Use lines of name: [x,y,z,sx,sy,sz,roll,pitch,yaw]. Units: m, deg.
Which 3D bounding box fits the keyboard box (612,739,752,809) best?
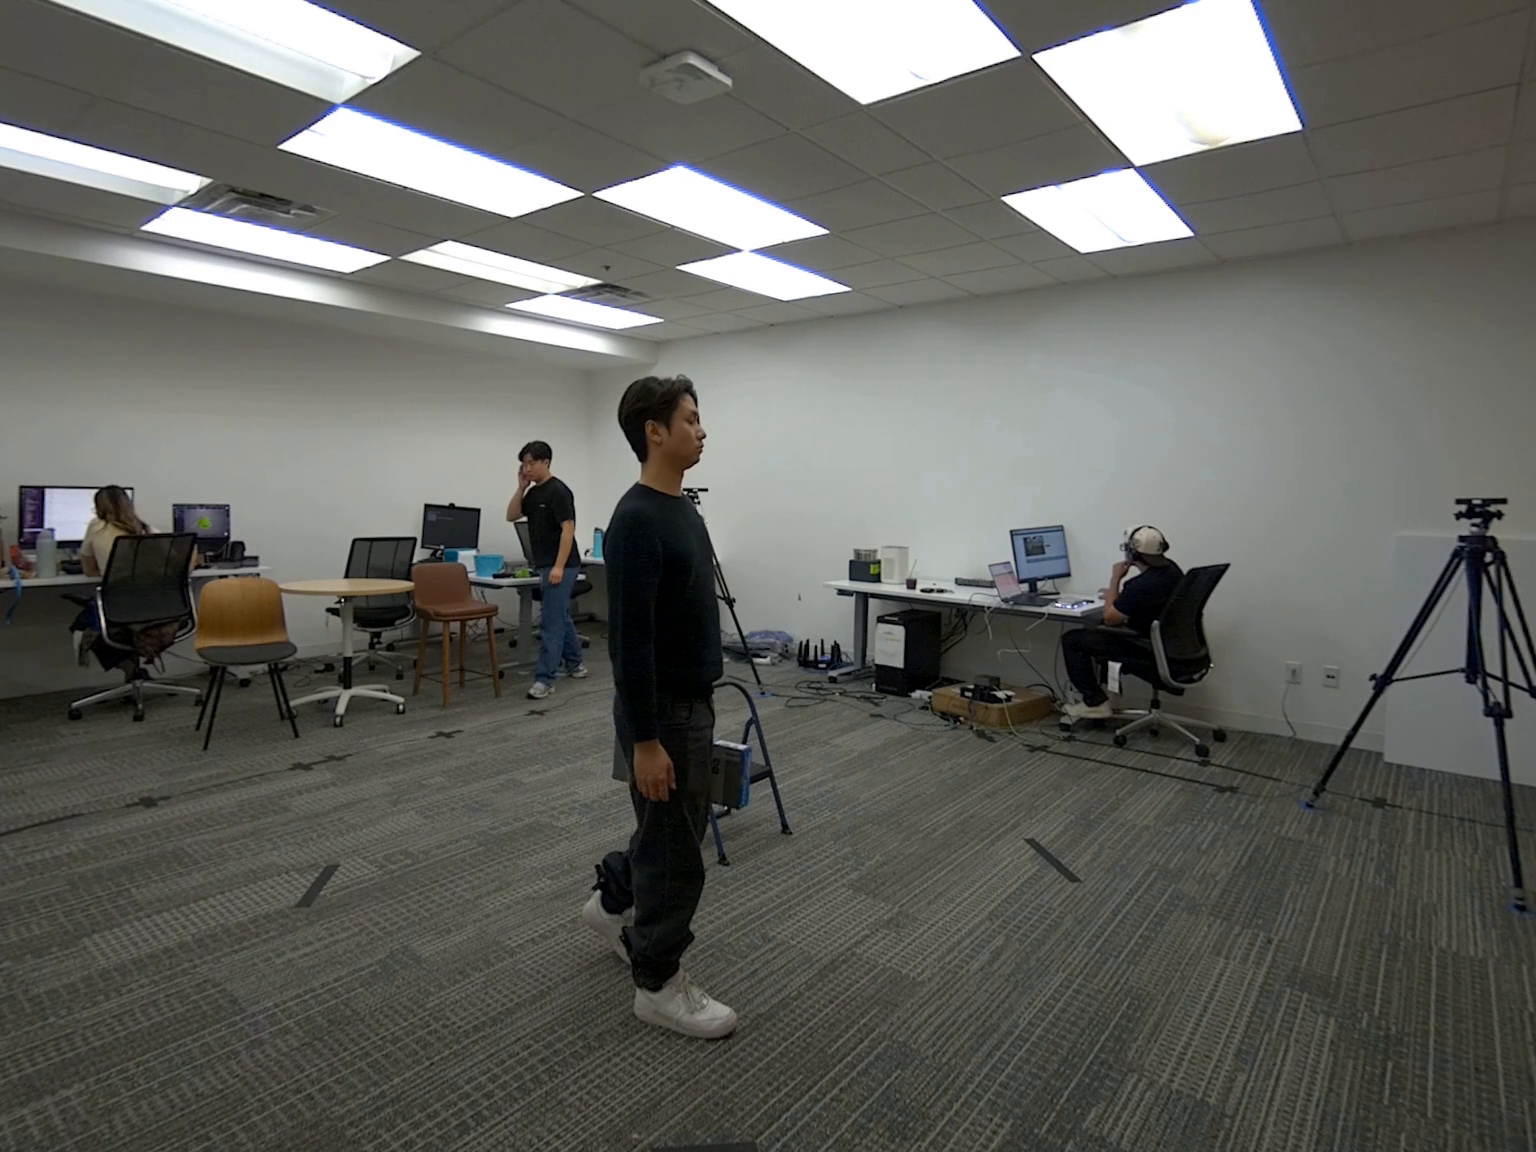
keyboard box: [-0.266,0.553,2.523,0.449,0.176,0.057,6,1,26]
